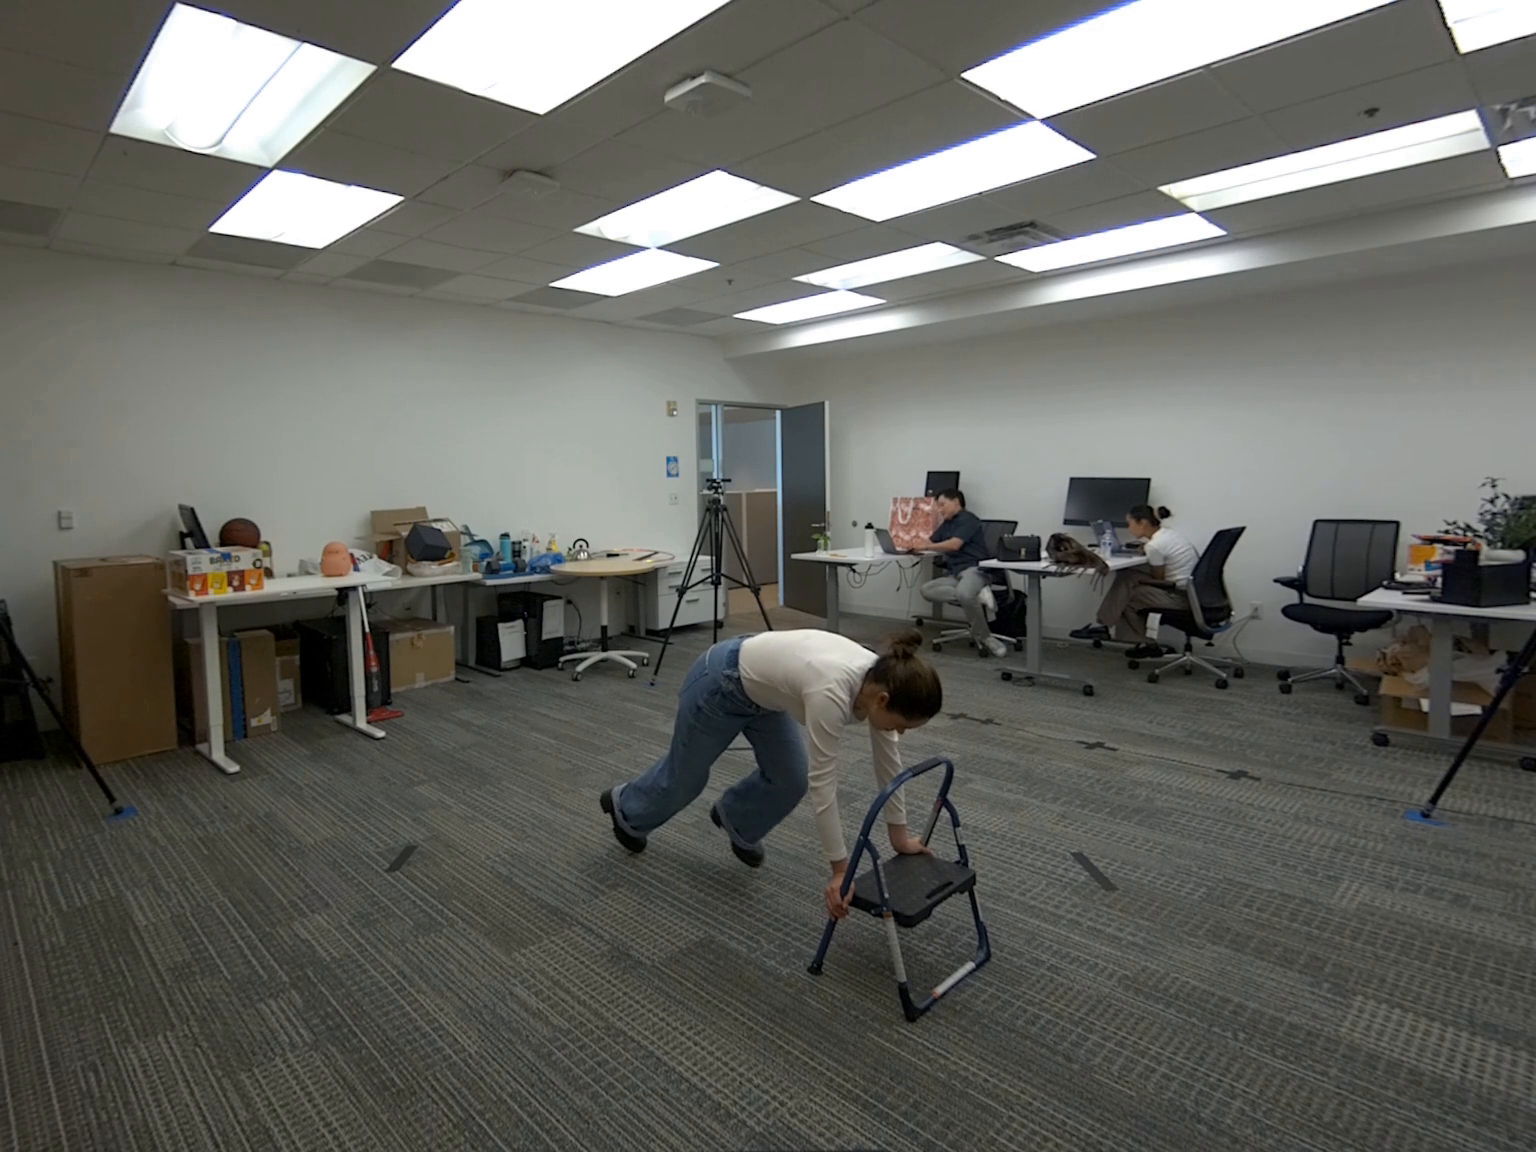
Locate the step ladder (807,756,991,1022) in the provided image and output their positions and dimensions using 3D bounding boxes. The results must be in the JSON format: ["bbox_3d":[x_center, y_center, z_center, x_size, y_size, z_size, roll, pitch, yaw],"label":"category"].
[{"bbox_3d":[0.383,0.816,2.425,0.360,0.604,0.419,3,6,43],"label":"step ladder"}]
